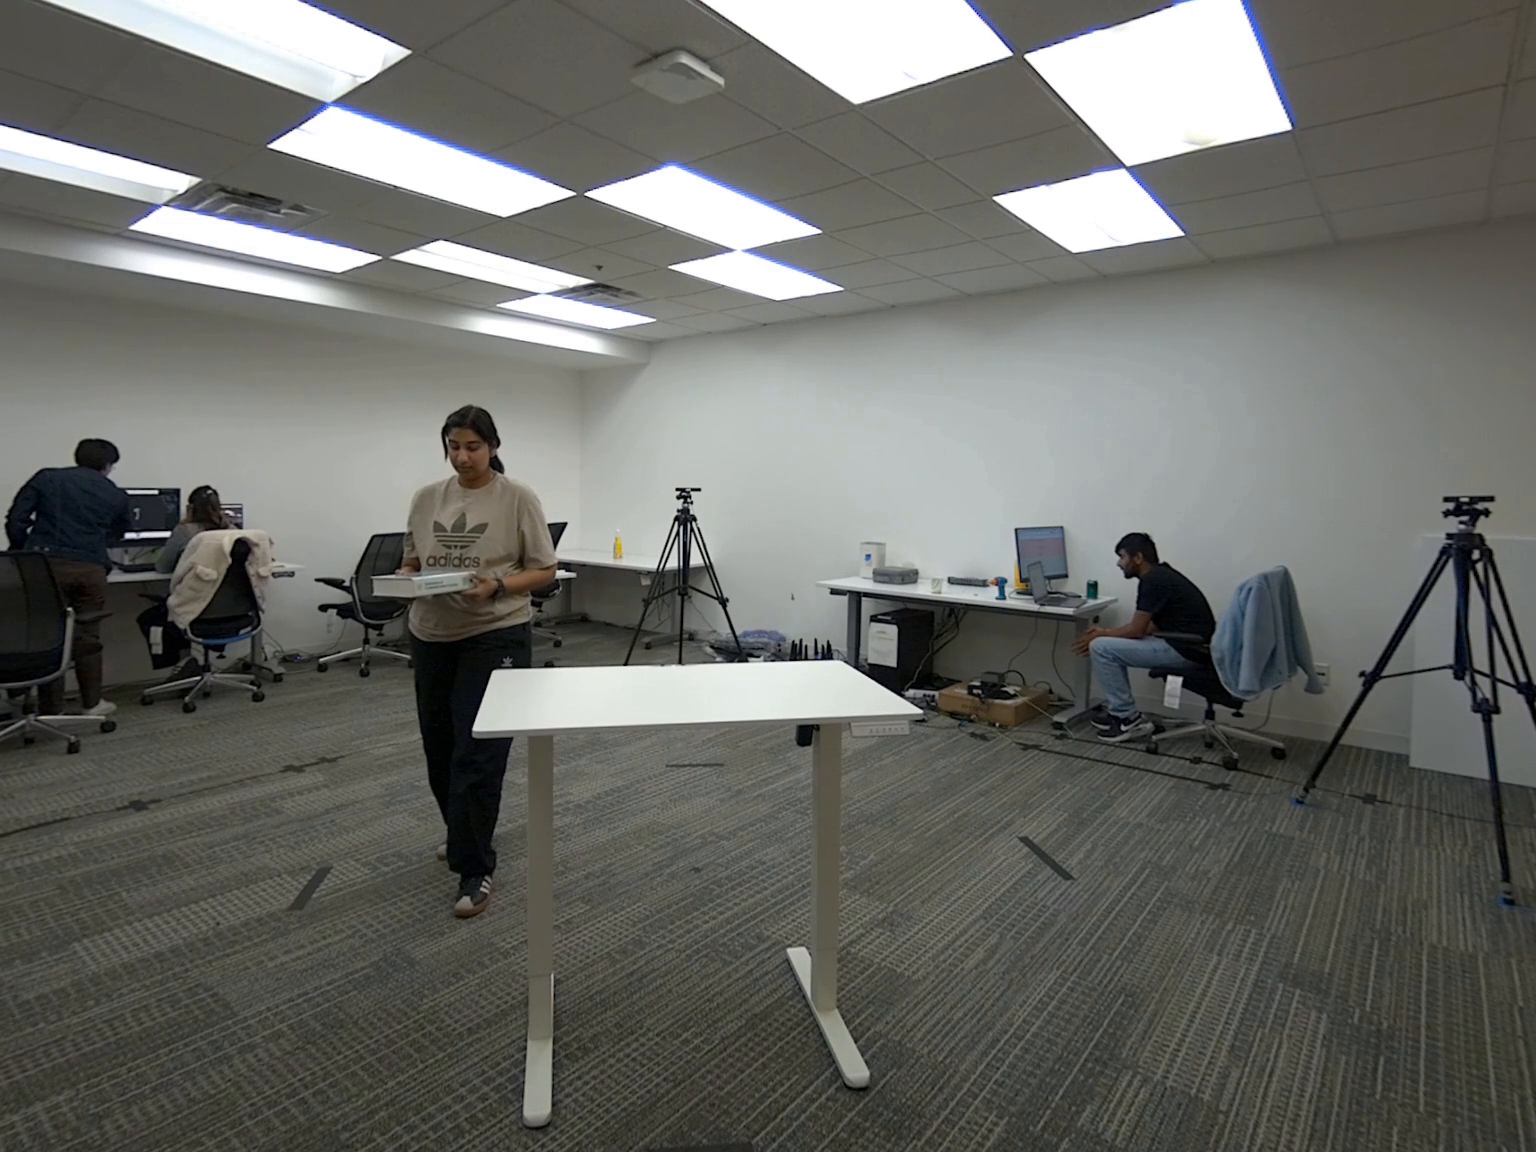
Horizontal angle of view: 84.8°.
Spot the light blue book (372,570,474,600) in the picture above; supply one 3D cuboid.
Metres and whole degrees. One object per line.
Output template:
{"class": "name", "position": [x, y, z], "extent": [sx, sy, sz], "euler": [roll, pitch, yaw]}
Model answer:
{"class": "light blue book", "position": [-1.107, 0.022, 2.719], "extent": [0.197, 0.059, 0.254], "euler": [2, 5, 29]}
